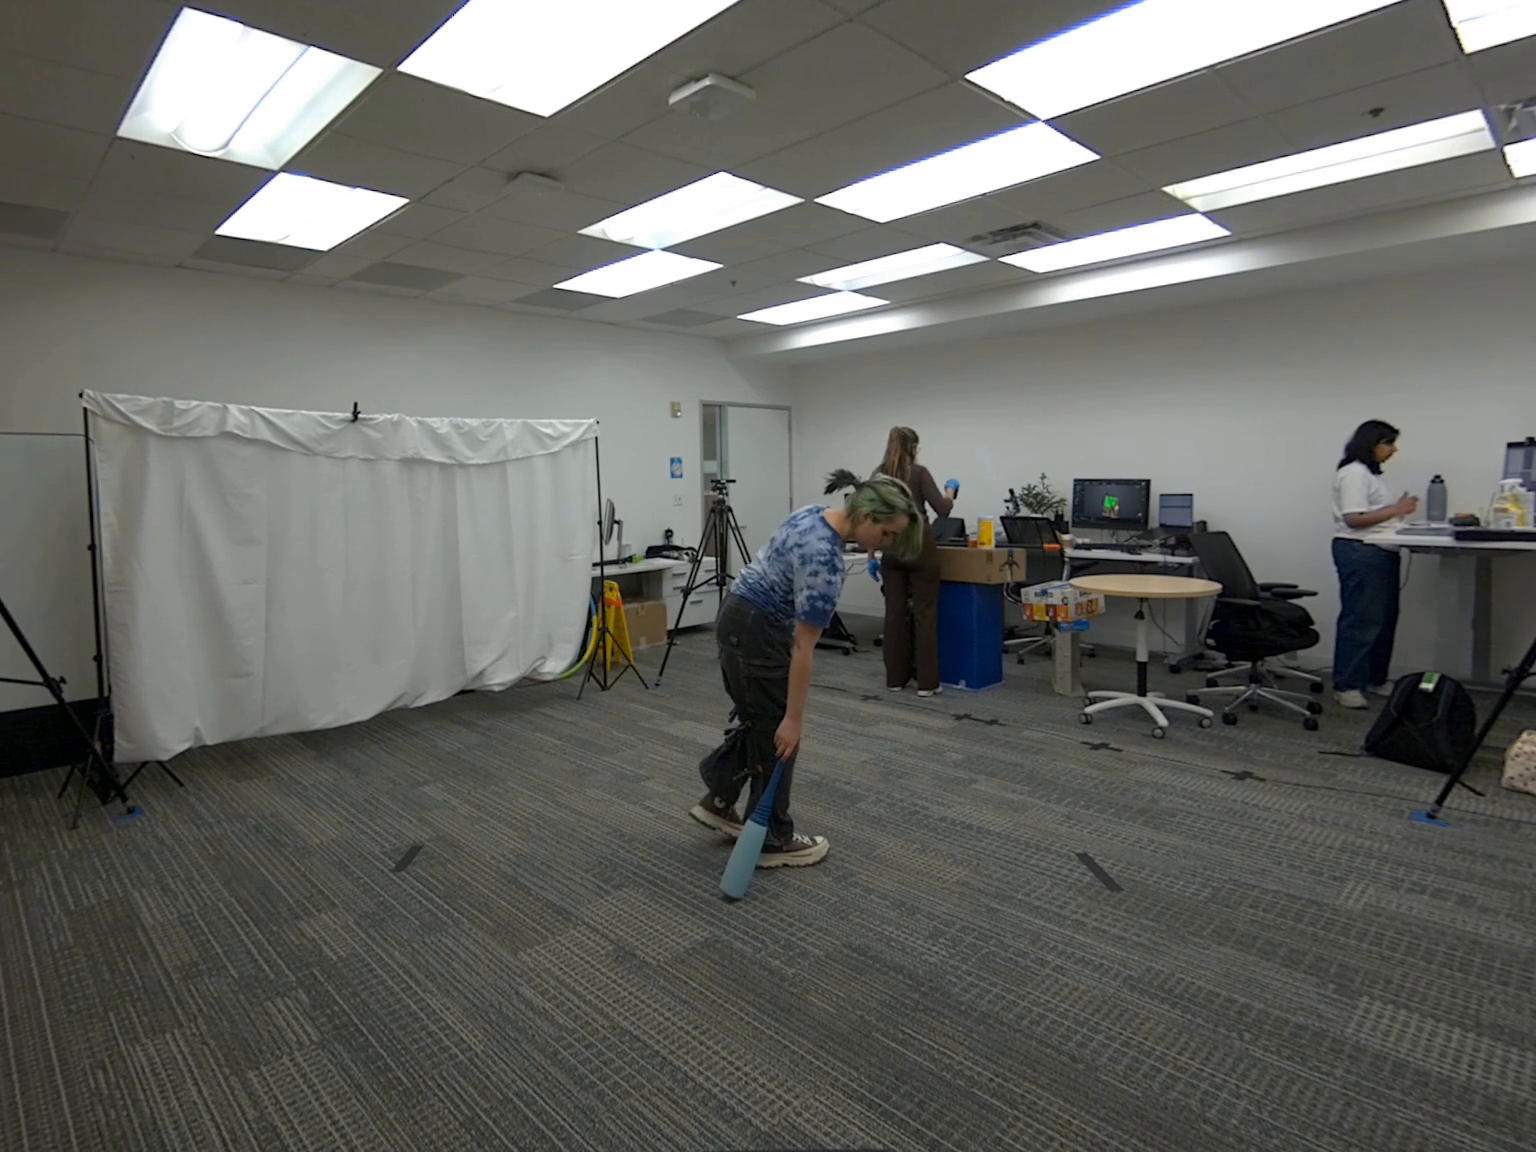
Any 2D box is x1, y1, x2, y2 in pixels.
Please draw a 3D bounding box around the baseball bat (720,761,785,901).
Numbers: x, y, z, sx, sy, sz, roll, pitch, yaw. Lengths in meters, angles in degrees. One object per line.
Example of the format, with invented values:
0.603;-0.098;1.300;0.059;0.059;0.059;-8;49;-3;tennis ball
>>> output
-0.029;0.825;2.890;0.089;0.545;0.088;22;-9;2;baseball bat
